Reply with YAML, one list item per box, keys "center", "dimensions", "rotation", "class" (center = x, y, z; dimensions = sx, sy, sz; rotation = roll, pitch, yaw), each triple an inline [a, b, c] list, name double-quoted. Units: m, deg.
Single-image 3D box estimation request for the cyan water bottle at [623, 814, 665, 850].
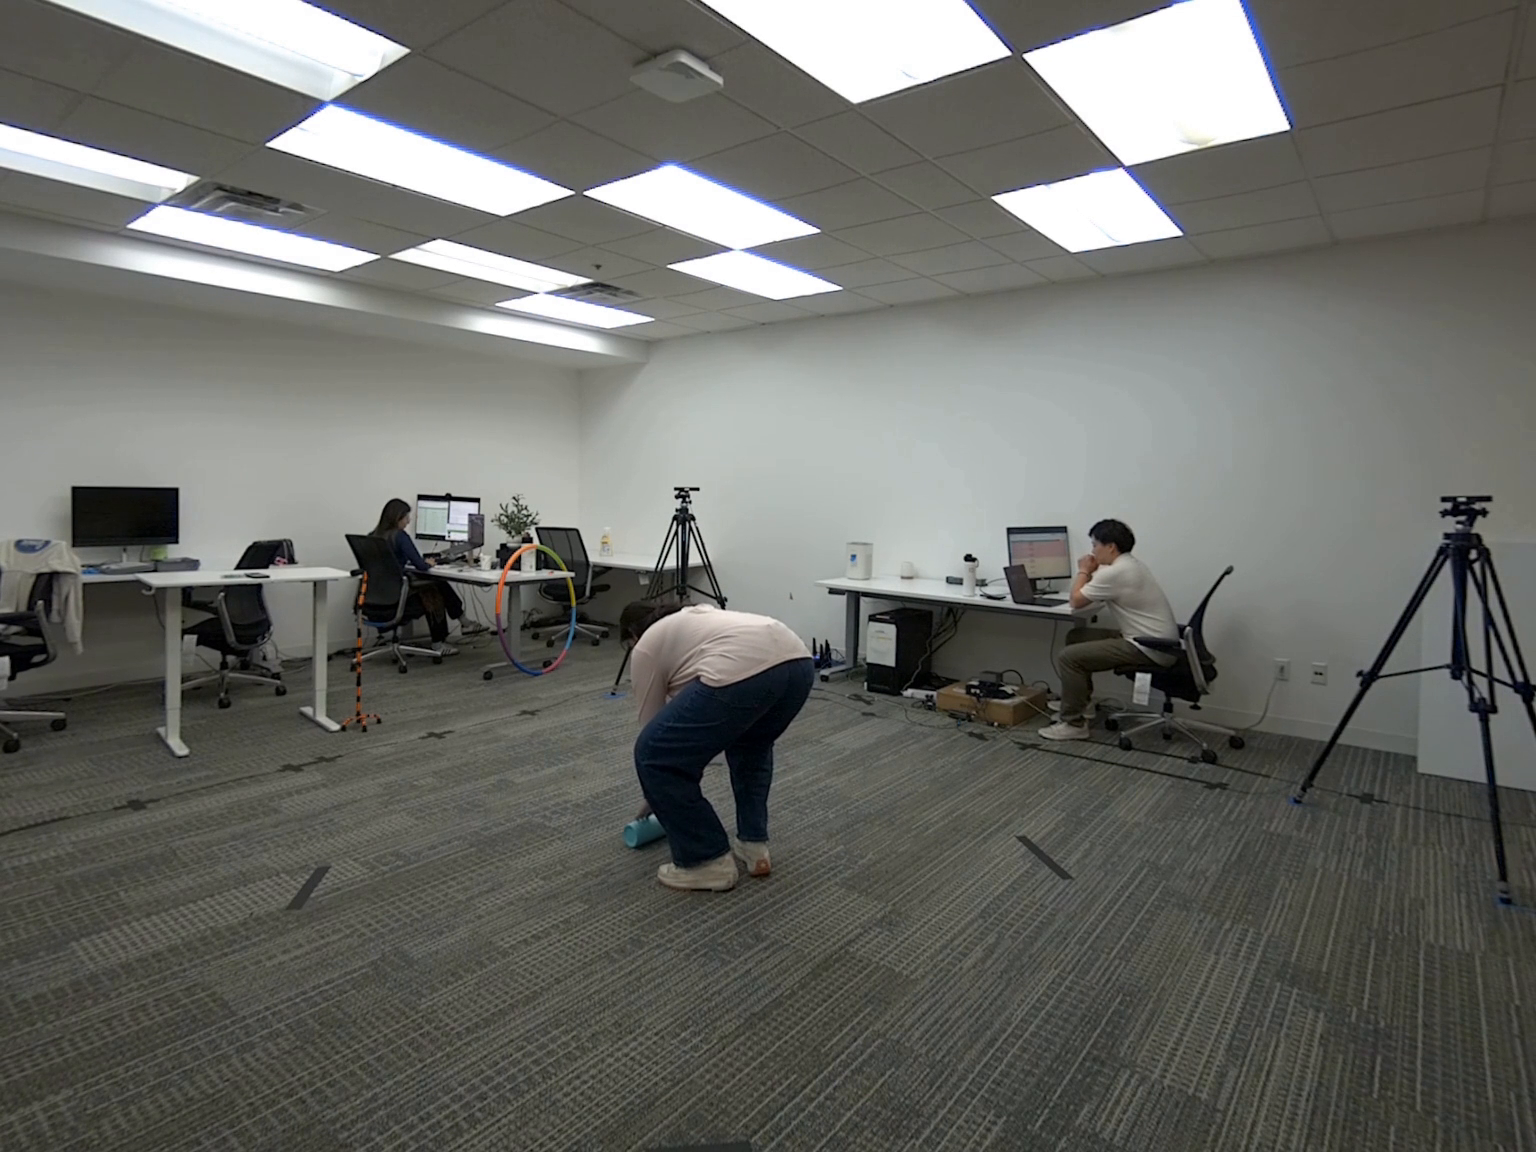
- center: [-0.454, 0.991, 3.374]
  dimensions: [0.095, 0.092, 0.275]
  rotation: [5, 6, 42]
  class: "cyan water bottle"
